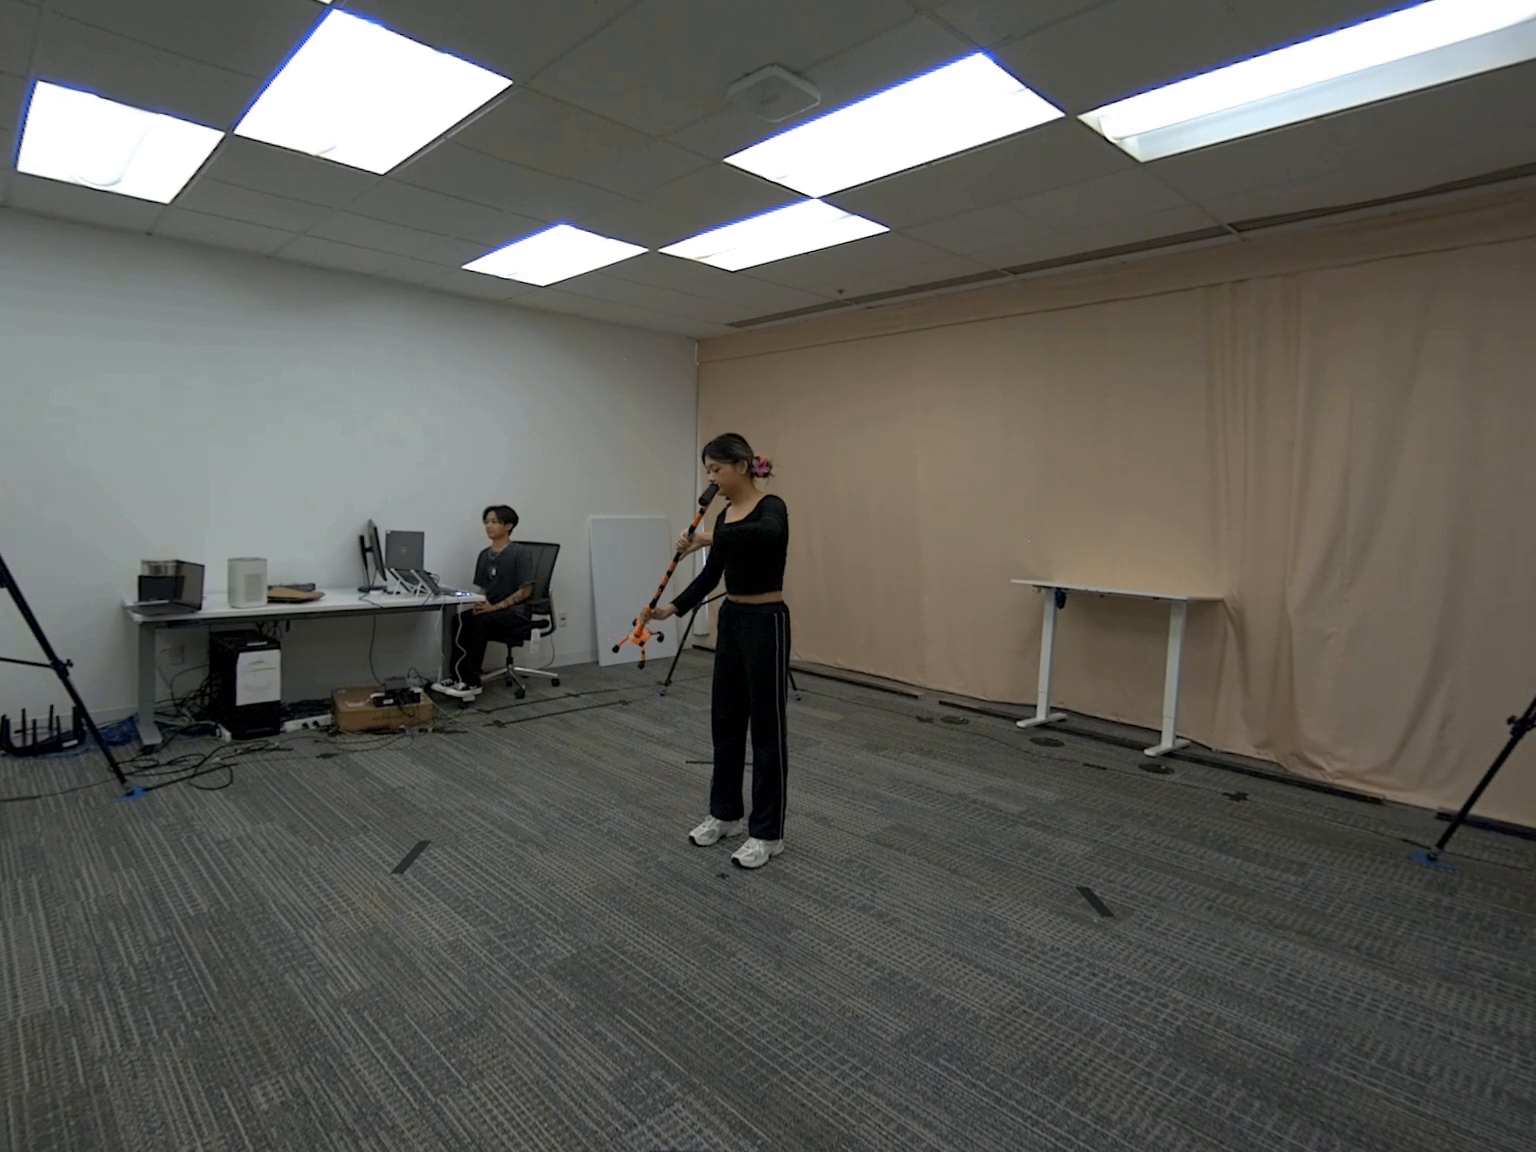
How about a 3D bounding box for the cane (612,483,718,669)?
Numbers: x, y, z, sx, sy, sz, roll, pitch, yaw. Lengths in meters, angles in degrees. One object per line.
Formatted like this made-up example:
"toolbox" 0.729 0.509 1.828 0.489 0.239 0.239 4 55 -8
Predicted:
"cane" -0.358 -0.006 3.156 0.152 0.901 0.208 31 40 0
